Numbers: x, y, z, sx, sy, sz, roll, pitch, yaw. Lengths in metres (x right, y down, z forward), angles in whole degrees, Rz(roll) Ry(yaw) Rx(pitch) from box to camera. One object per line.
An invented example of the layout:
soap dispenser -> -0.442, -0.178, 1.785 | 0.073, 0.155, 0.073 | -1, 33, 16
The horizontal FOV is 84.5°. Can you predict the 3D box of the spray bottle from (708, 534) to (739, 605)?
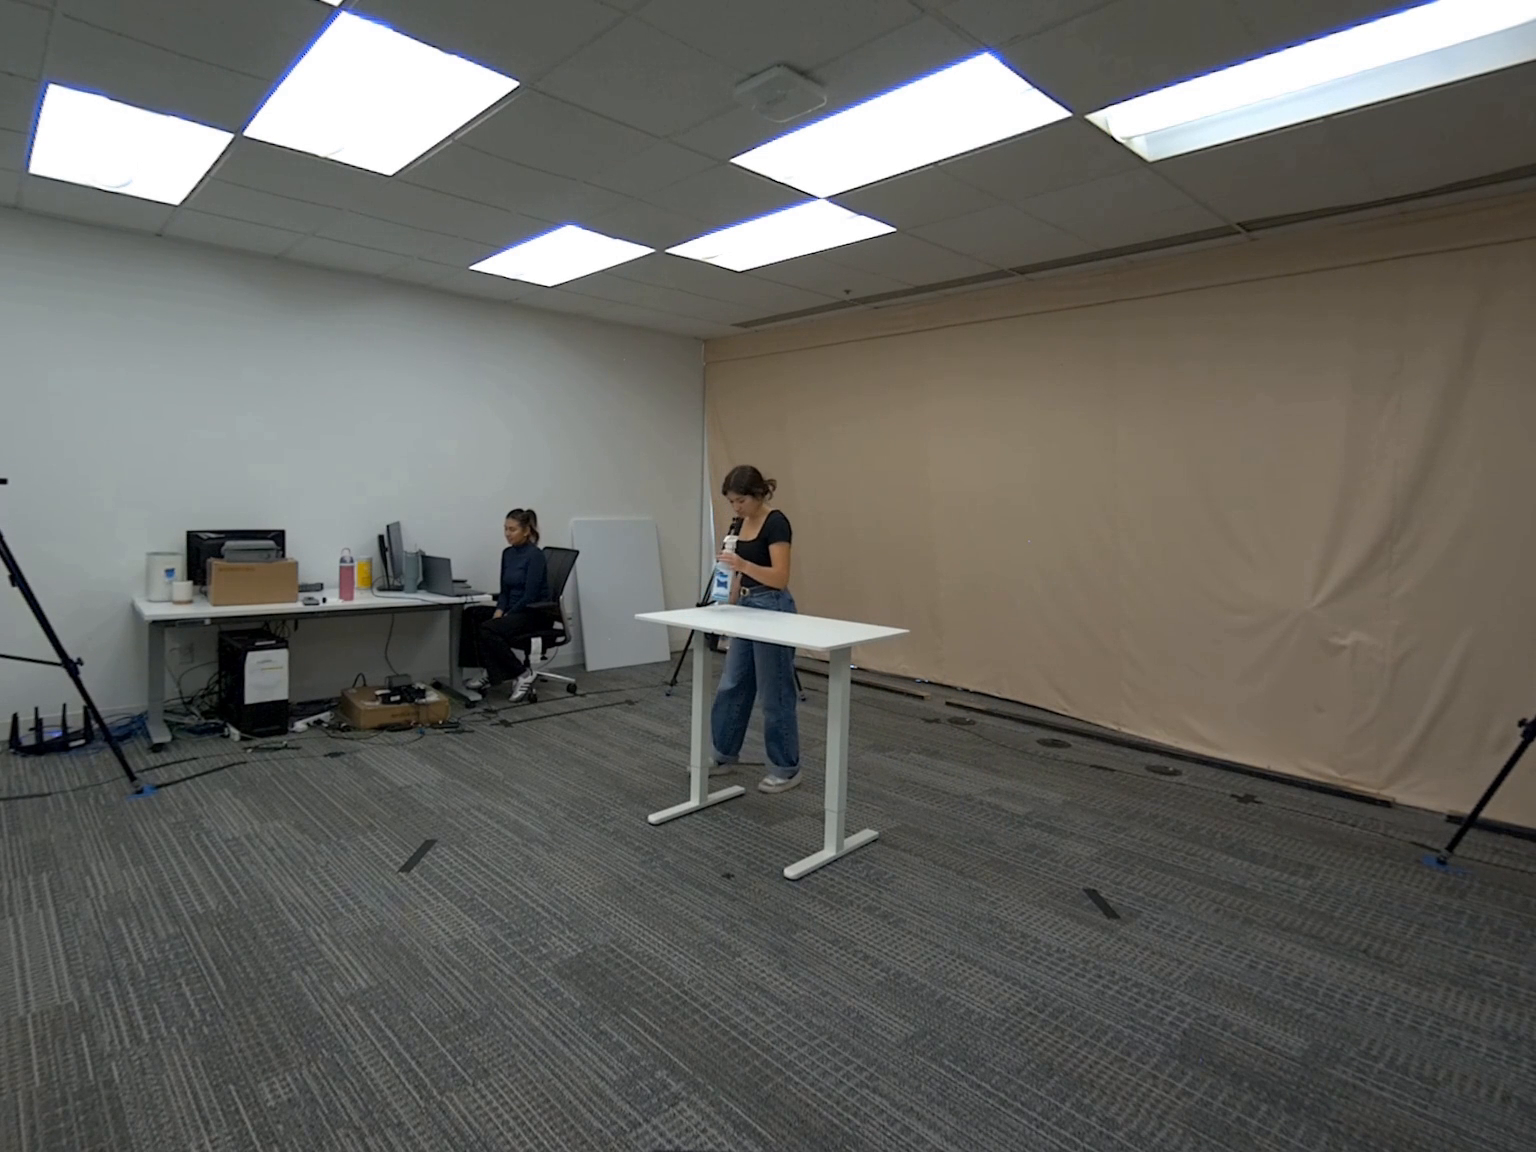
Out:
spray bottle -> -0.194, -0.040, 3.809 | 0.088, 0.297, 0.089 | 11, 2, -30
